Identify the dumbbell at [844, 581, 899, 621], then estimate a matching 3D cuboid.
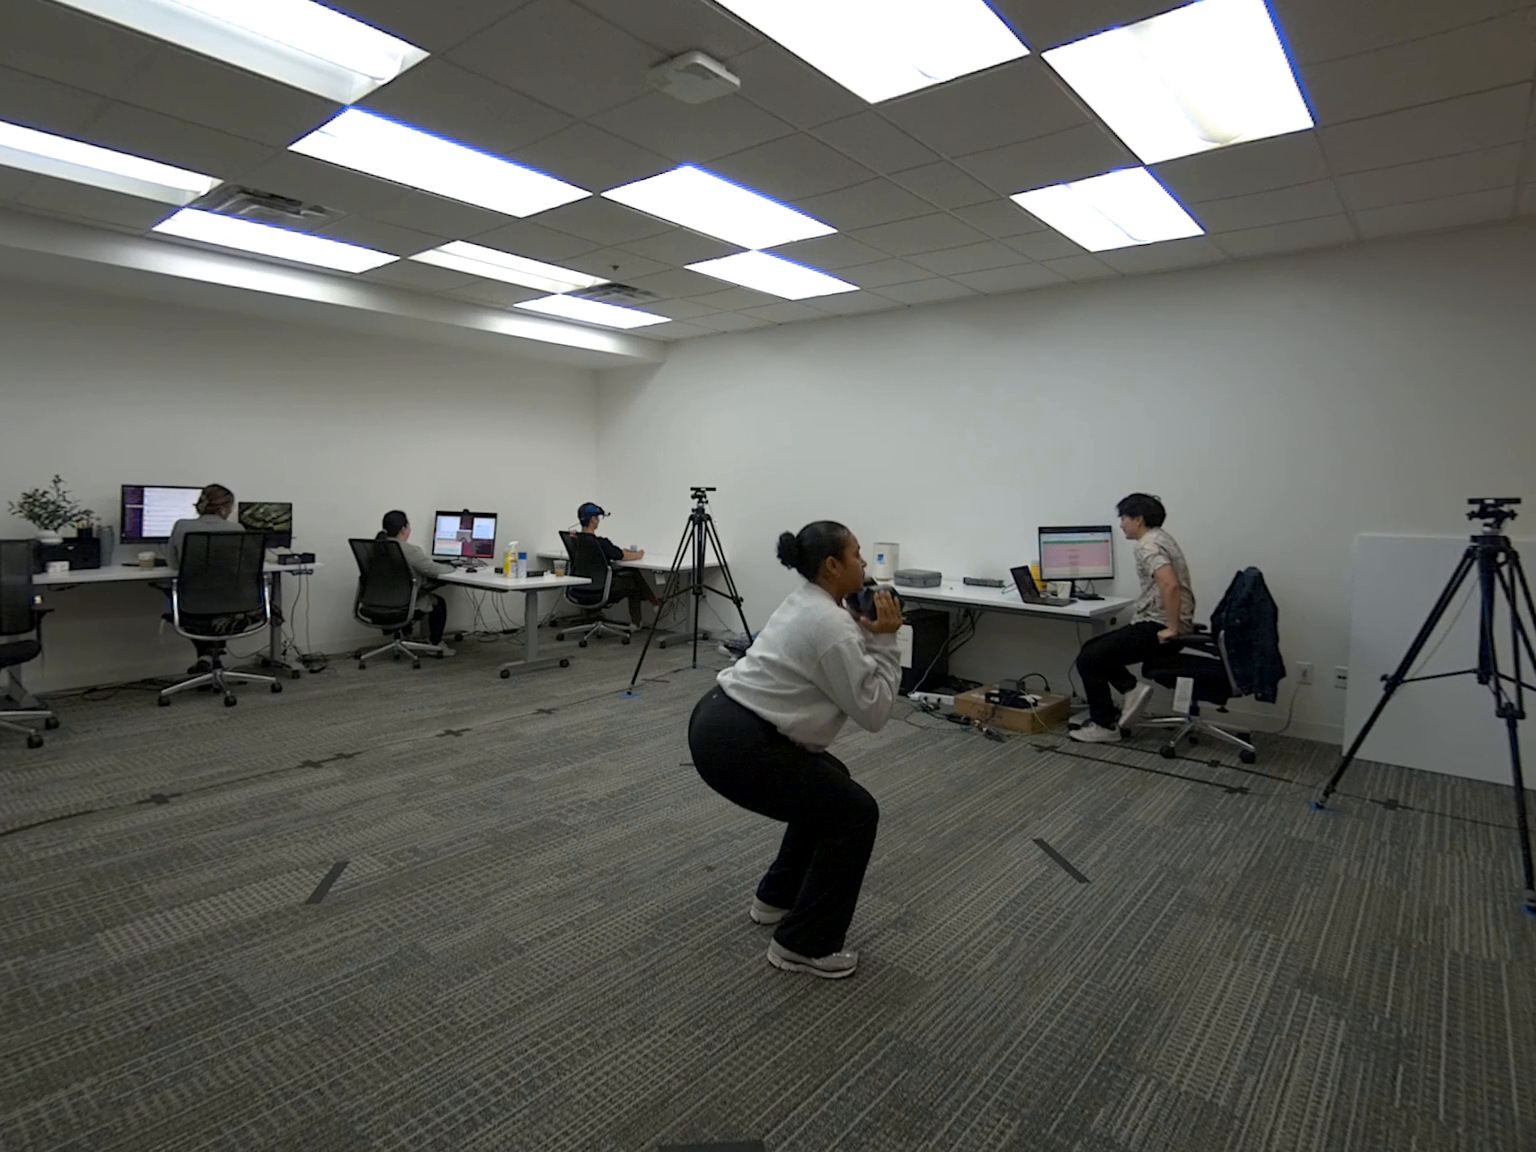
[{"bbox_3d":[0.307,0.060,2.593,0.108,0.121,0.298,-40,13,-2],"label":"dumbbell"}]
